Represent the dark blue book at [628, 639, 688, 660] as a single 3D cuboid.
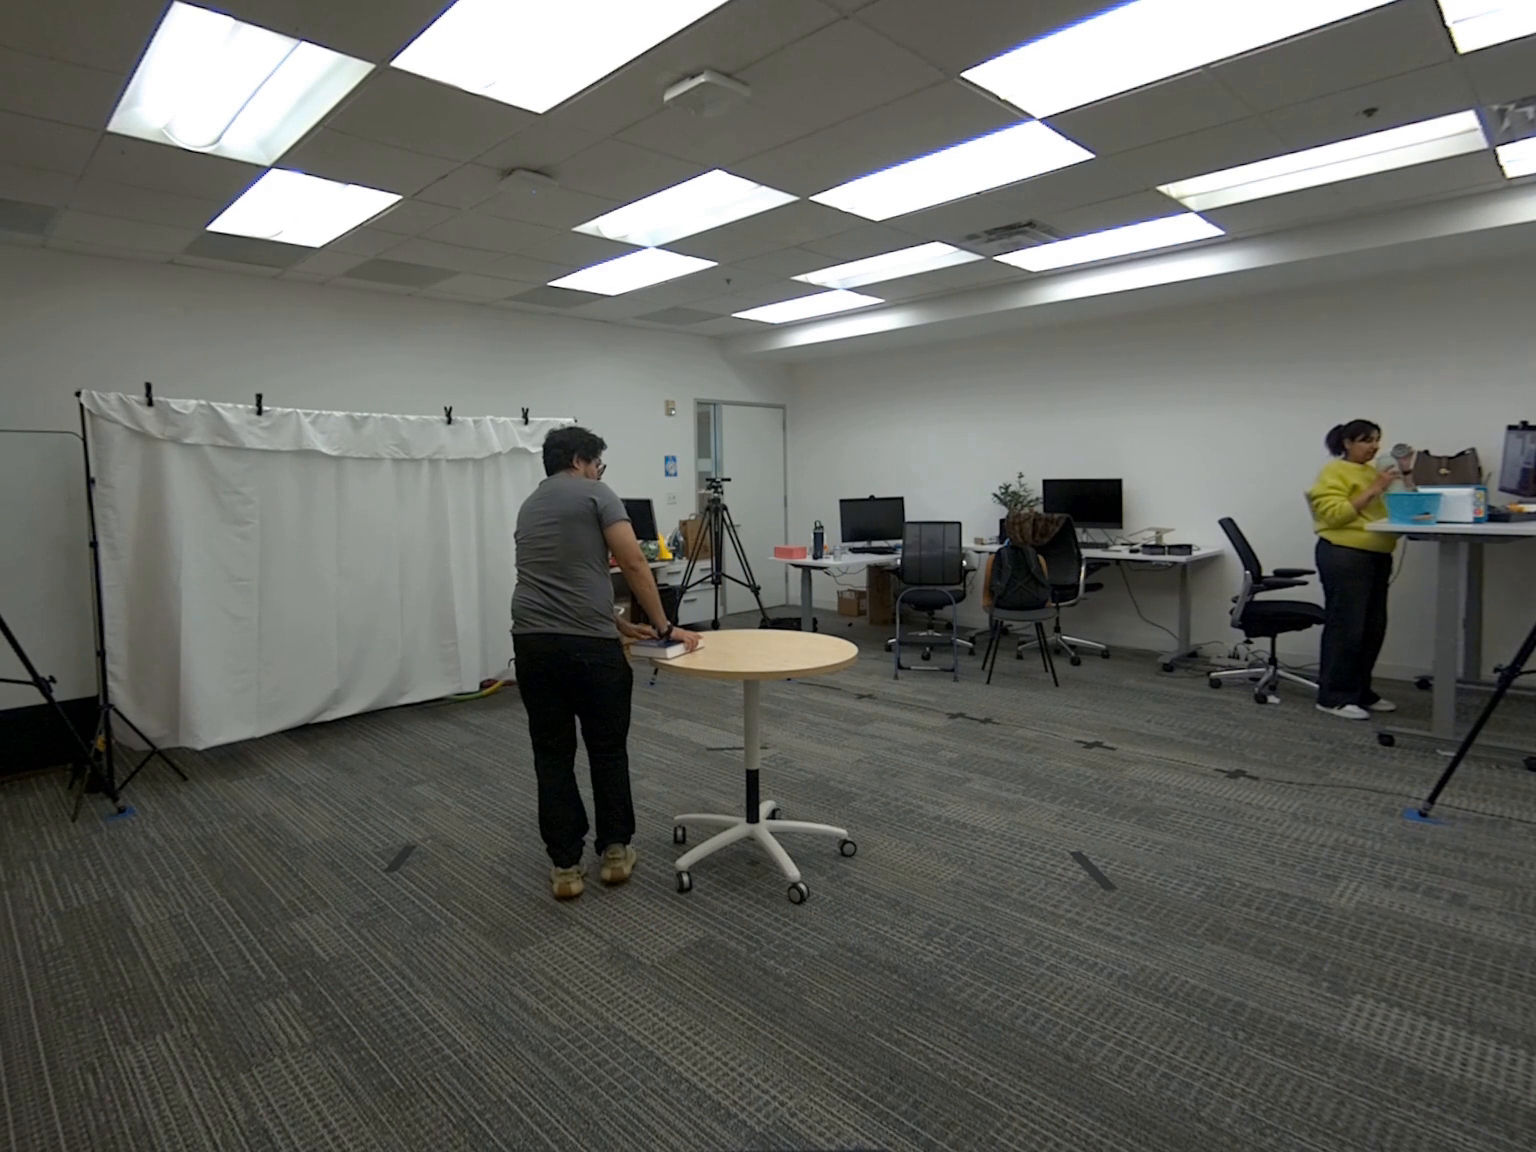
[{"bbox_3d":[-0.355,0.249,3.038,0.167,0.045,0.240,2,7,25],"label":"dark blue book"}]
